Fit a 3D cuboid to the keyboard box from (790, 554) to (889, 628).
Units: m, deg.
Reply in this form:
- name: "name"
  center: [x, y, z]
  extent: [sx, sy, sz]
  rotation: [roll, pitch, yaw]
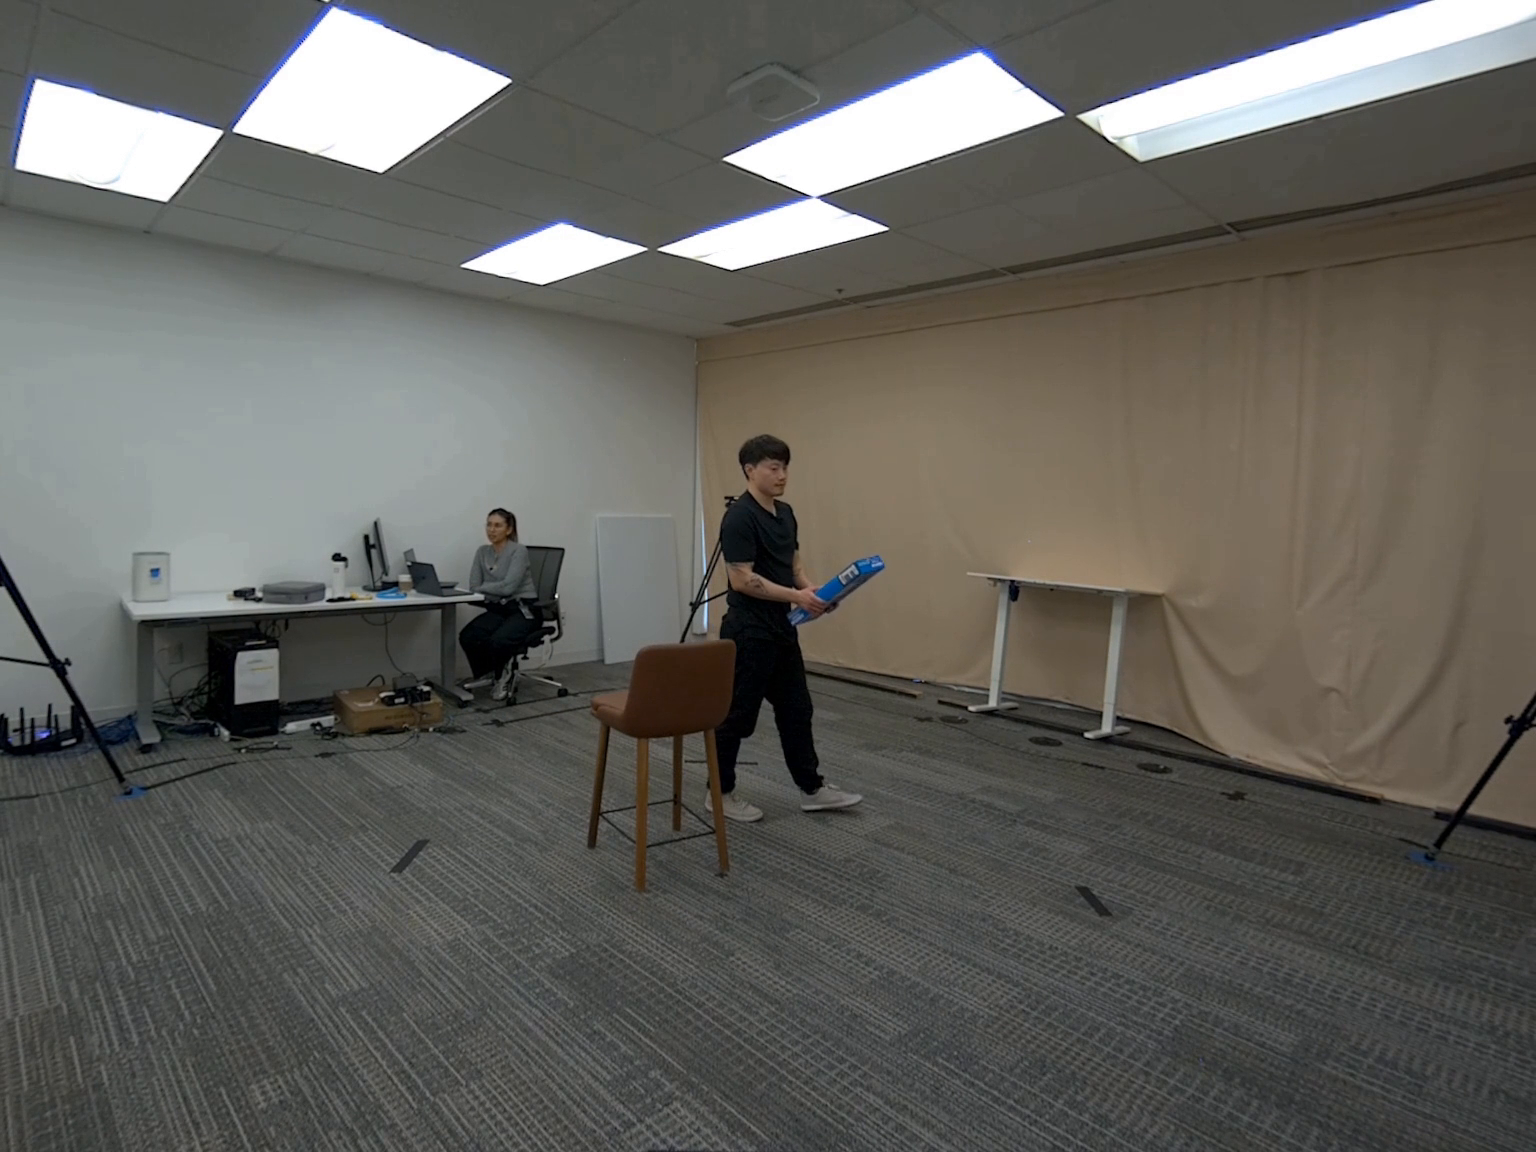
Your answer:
- name: "keyboard box"
  center: [0.275, 0.063, 3.447]
  extent: [0.173, 0.060, 0.438]
  rotation: [-13, -21, -49]
